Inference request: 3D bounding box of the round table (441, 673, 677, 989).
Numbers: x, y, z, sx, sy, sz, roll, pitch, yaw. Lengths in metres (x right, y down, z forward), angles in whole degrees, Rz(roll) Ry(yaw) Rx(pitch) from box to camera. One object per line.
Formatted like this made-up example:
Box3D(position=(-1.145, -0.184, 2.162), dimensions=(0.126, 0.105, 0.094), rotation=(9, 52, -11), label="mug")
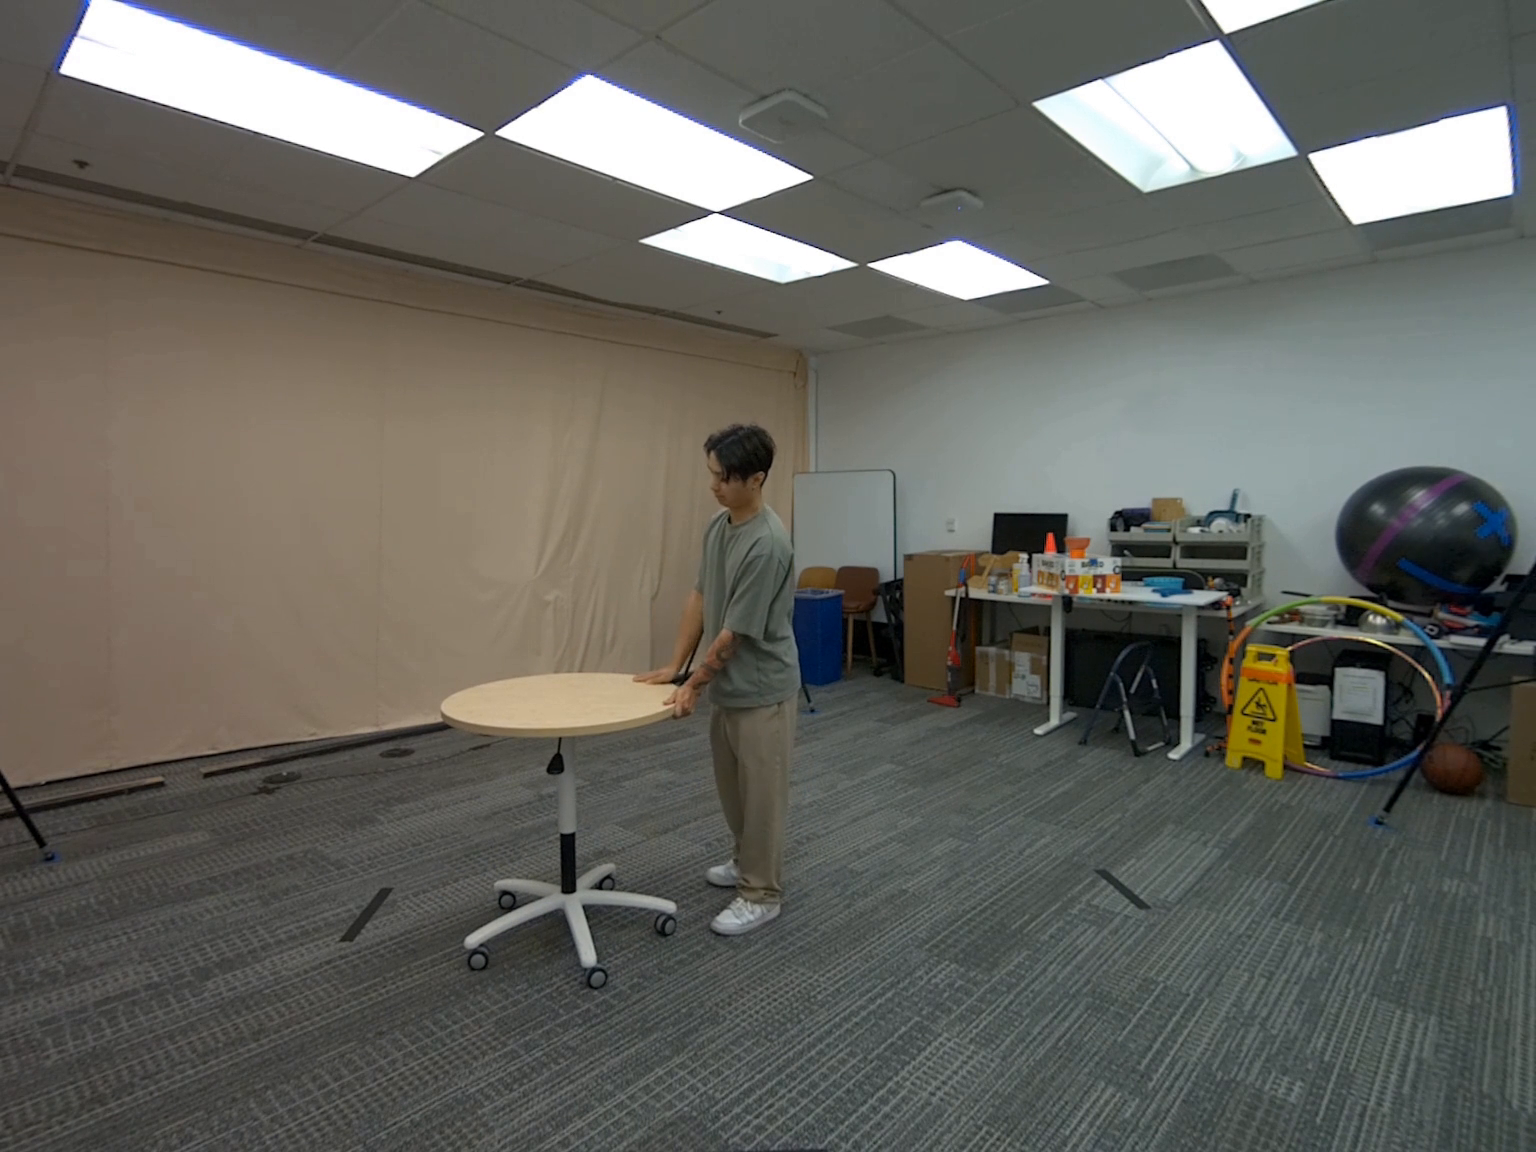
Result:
Box3D(position=(-0.662, 0.780, 2.744), dimensions=(0.784, 0.785, 0.788), rotation=(0, 4, -2), label="round table")
